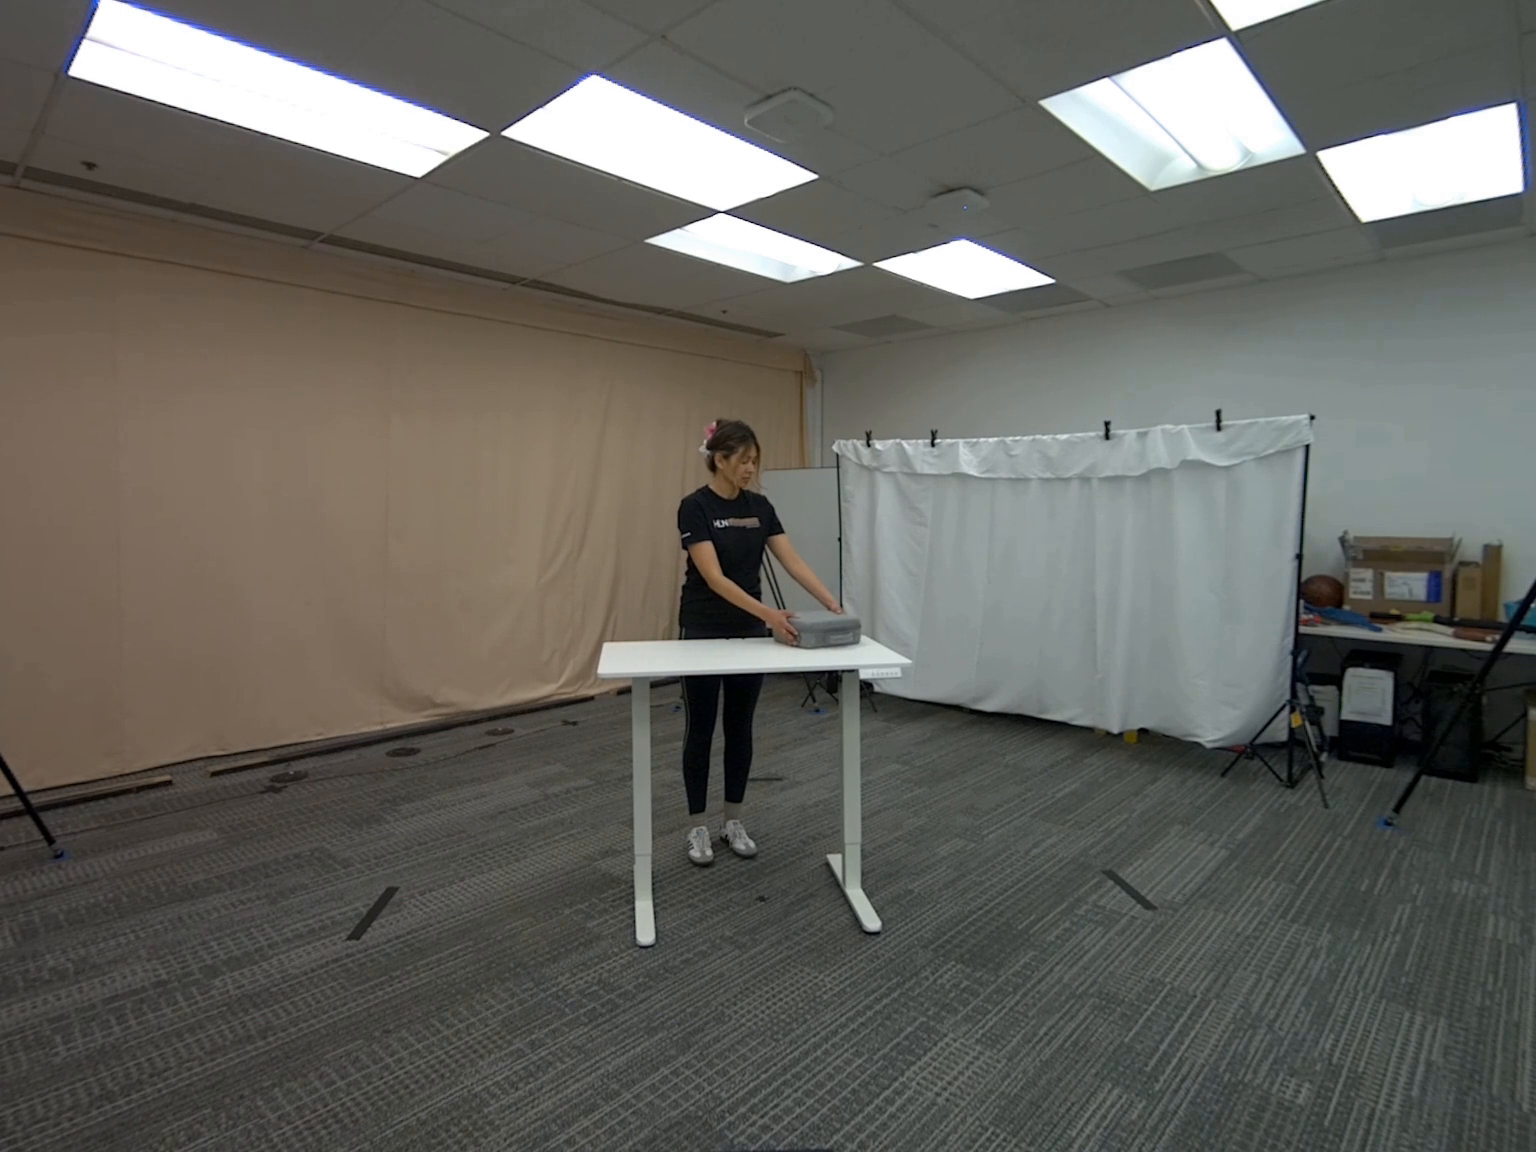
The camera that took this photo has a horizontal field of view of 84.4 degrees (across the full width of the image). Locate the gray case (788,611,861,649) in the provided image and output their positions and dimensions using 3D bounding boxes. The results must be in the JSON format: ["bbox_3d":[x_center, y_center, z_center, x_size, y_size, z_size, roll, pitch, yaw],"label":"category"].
[{"bbox_3d":[0.185,0.200,3.108,0.250,0.104,0.268,-2,5,-28],"label":"gray case"}]
